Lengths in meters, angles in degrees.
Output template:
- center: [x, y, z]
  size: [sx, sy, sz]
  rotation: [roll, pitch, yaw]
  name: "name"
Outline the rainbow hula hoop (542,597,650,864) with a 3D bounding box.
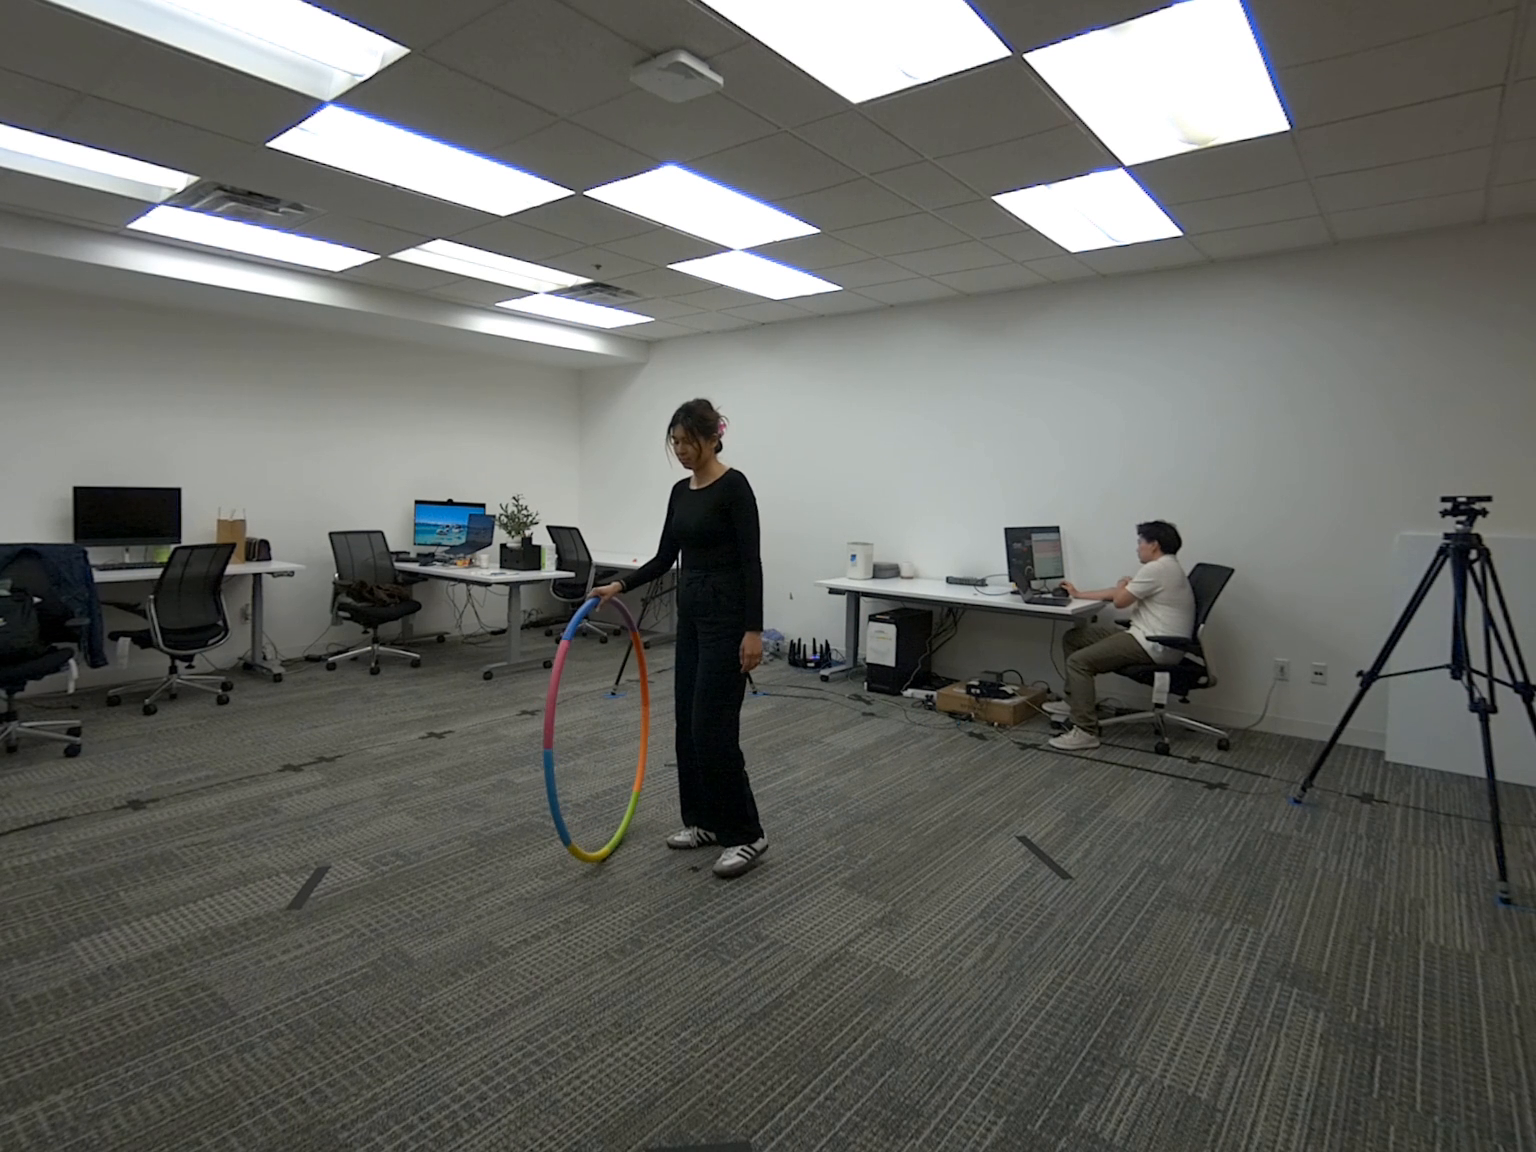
- center: [-0.620, 0.563, 3.221]
  size: [0.036, 0.977, 0.968]
  rotation: [-4, 3, 11]
  name: "rainbow hula hoop"
